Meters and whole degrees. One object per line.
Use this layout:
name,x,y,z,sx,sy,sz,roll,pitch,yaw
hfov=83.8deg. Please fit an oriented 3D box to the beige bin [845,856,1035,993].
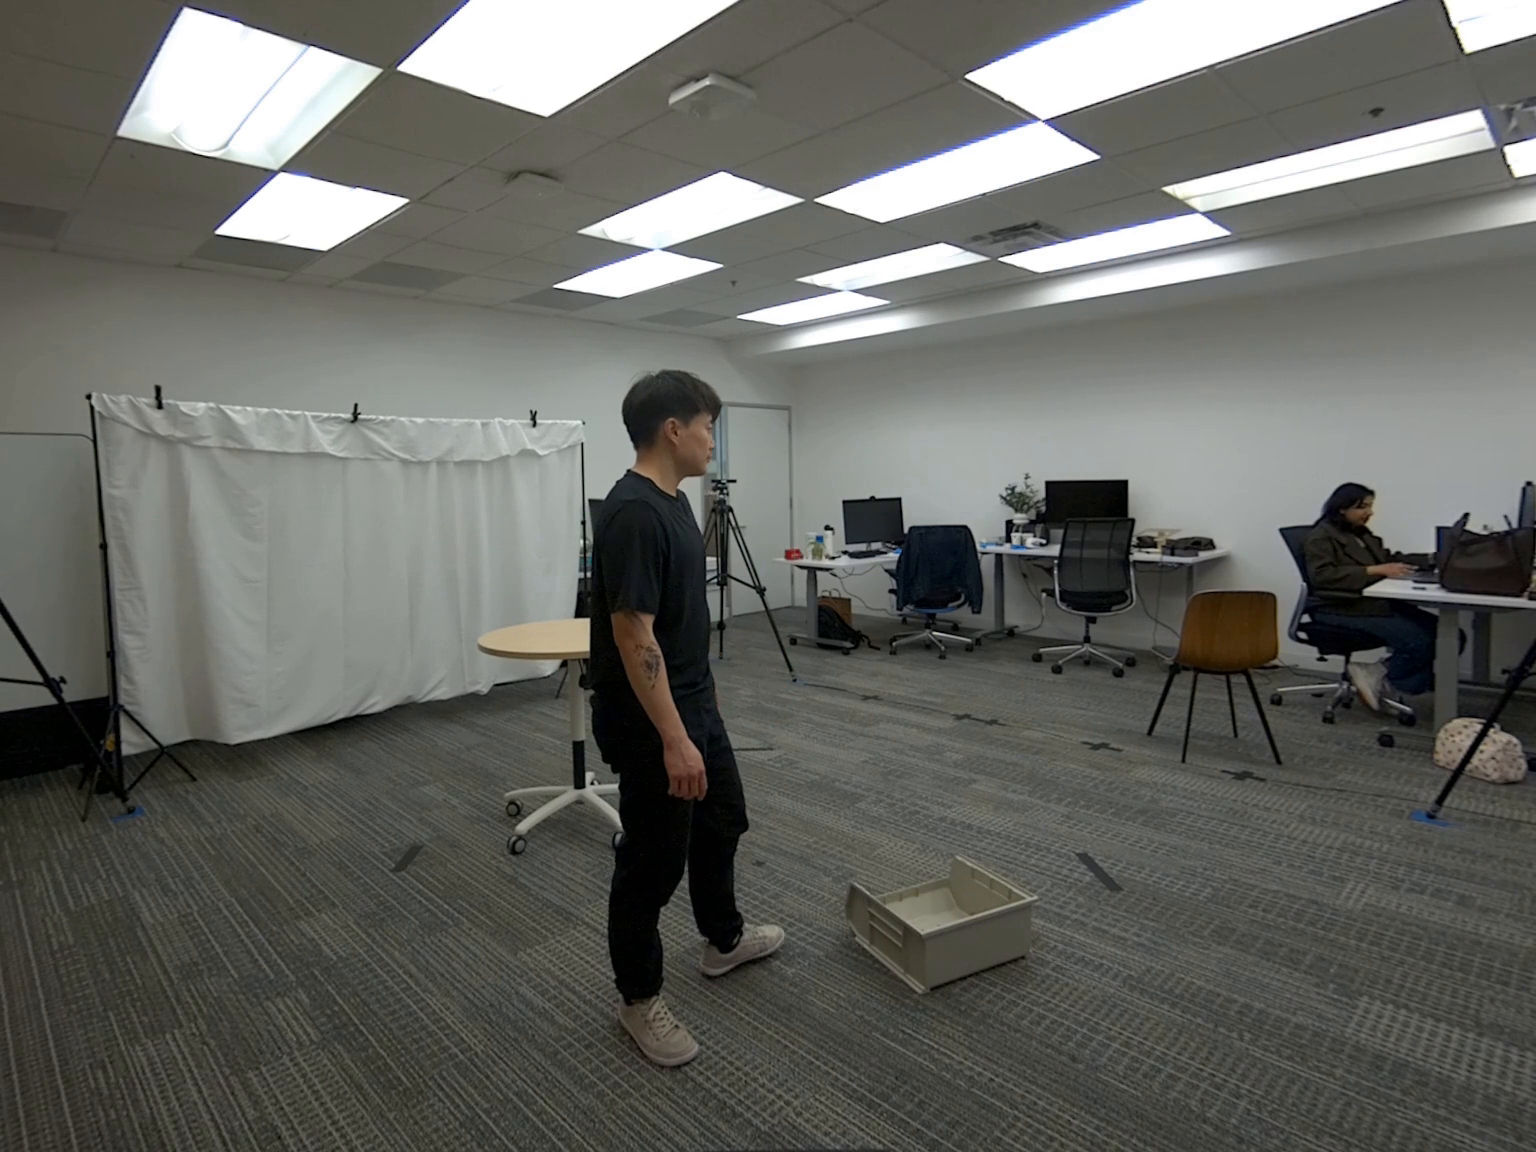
beige bin,0.513,1.013,2.541,0.413,0.188,0.387,-4,7,-27
